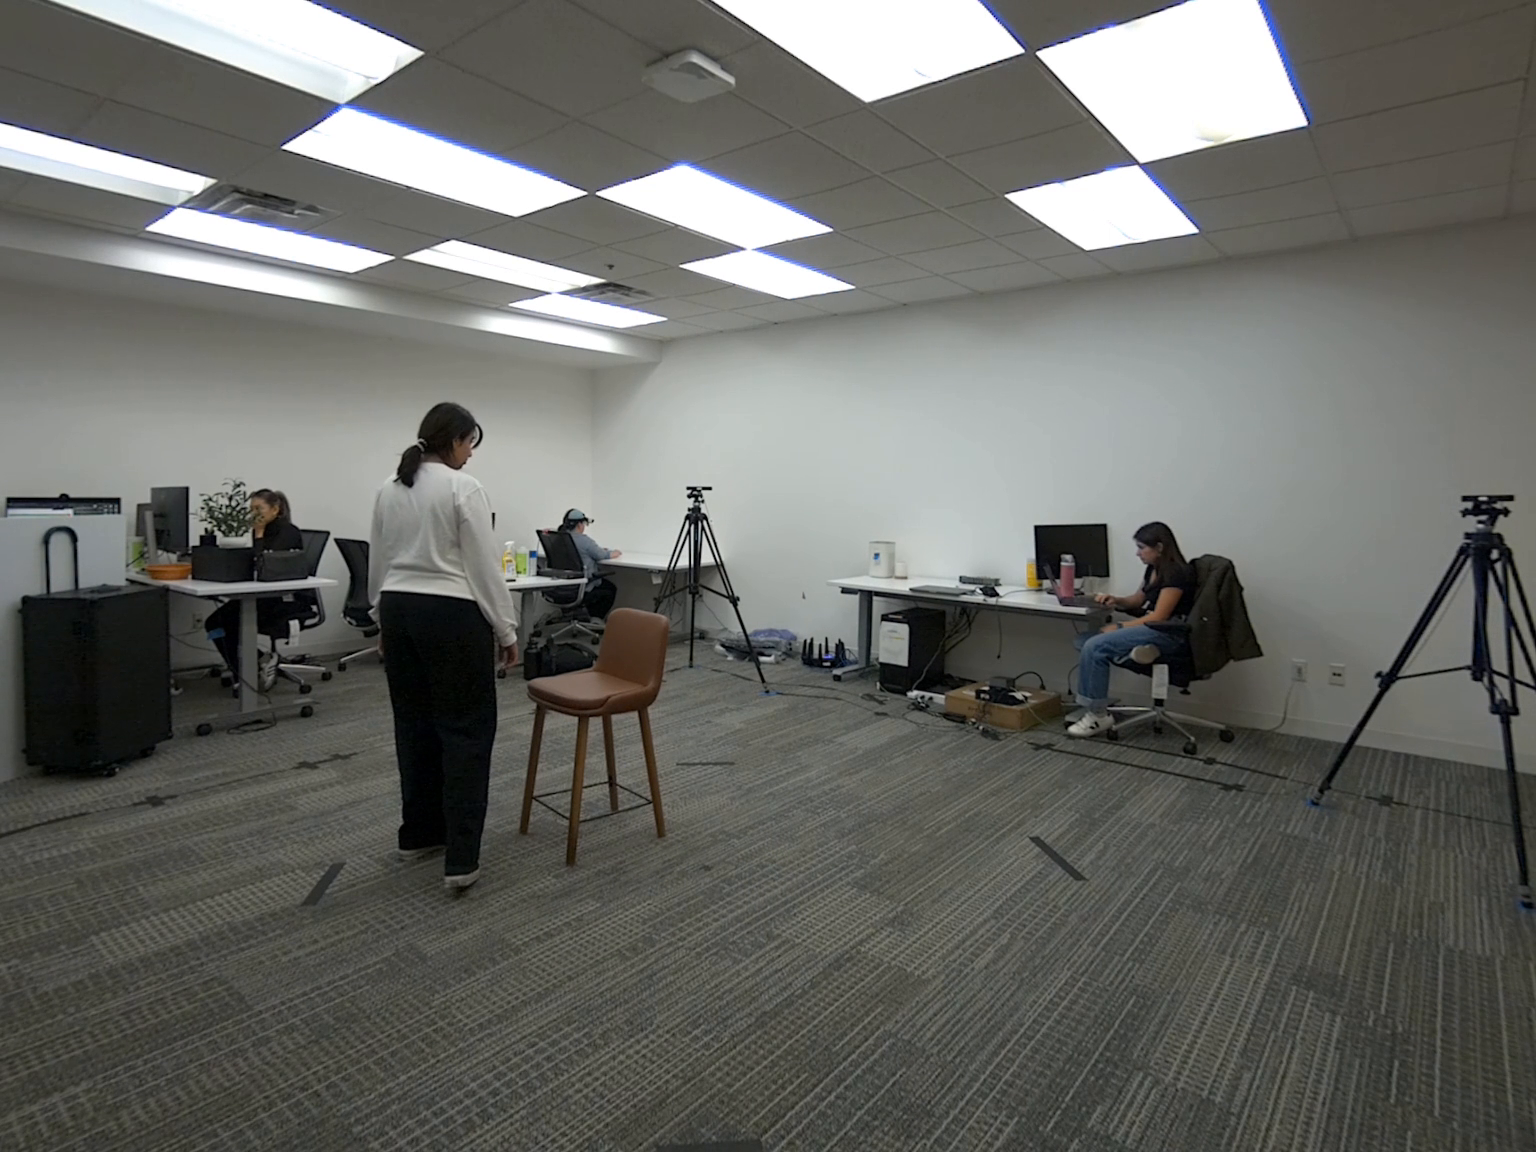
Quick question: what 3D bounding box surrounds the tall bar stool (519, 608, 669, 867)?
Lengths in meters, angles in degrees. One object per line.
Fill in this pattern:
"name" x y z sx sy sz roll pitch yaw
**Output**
"tall bar stool" -0.690 0.600 3.377 0.453 0.888 0.472 0 2 -41
